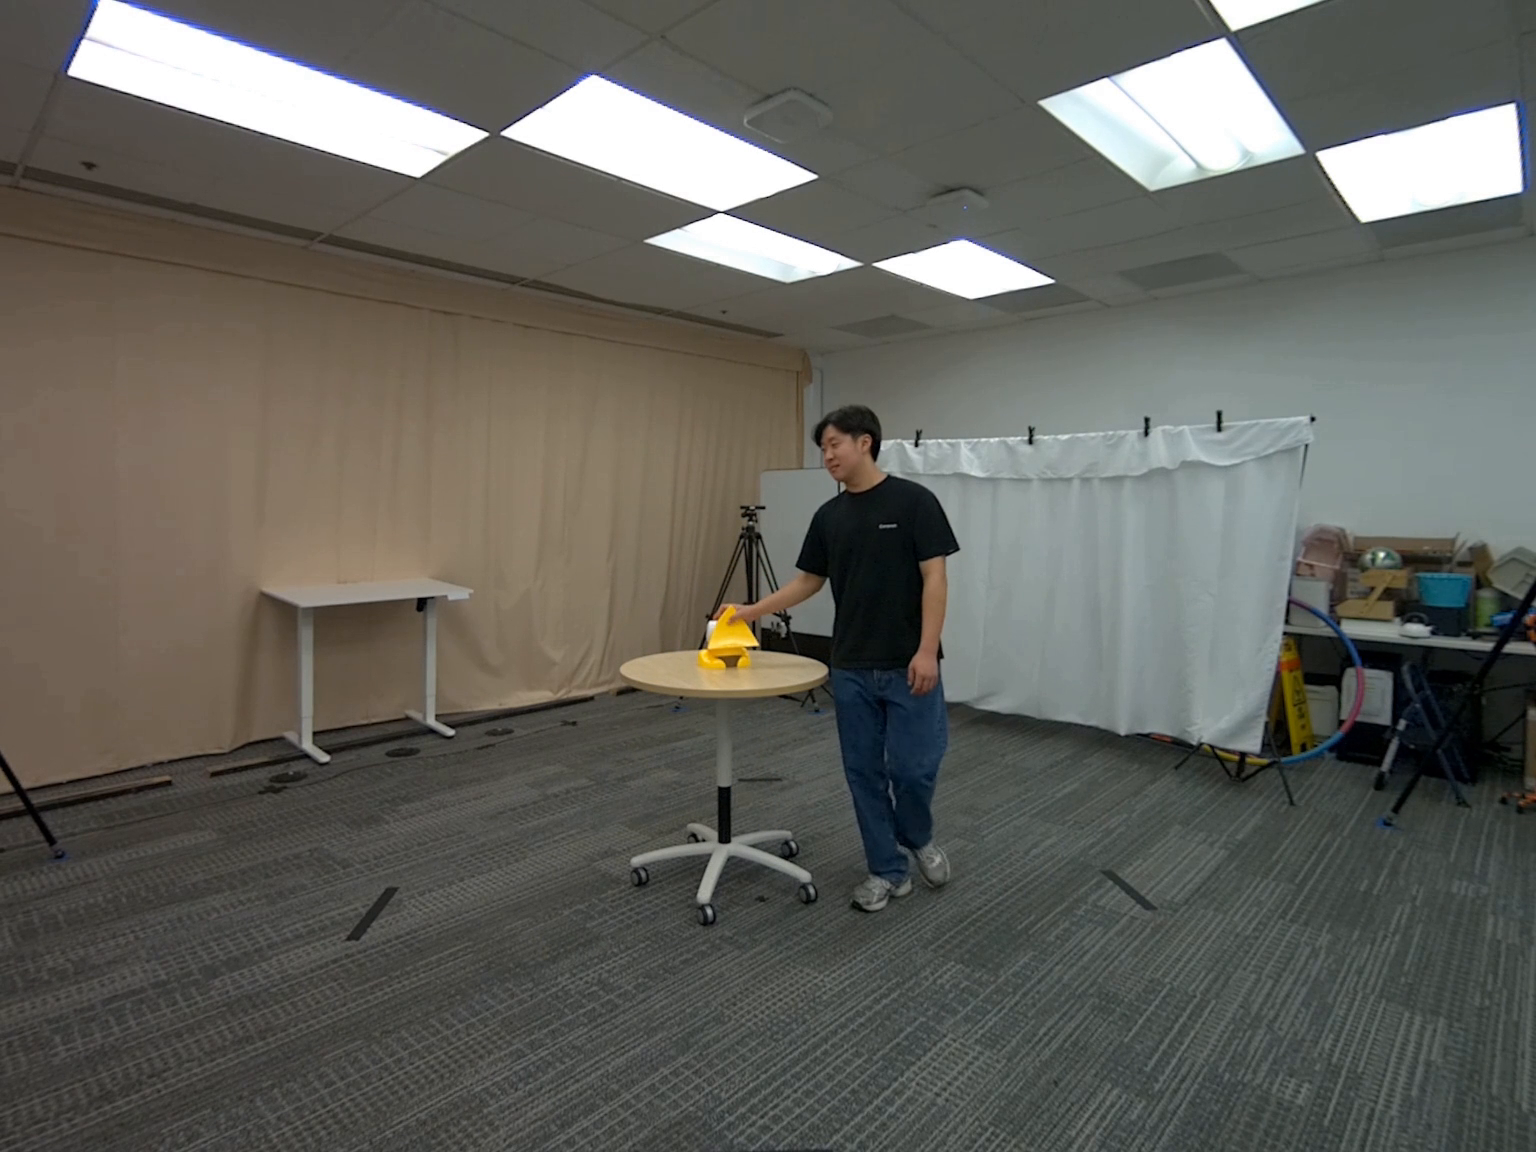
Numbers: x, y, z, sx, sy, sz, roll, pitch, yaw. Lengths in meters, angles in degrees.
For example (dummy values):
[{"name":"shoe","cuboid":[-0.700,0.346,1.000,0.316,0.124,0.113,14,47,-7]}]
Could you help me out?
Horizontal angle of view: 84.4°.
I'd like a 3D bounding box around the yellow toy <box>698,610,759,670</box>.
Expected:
[{"name":"yellow toy","cuboid":[-0.164,0.222,3.166,0.200,0.230,0.198,-3,4,-24]}]
